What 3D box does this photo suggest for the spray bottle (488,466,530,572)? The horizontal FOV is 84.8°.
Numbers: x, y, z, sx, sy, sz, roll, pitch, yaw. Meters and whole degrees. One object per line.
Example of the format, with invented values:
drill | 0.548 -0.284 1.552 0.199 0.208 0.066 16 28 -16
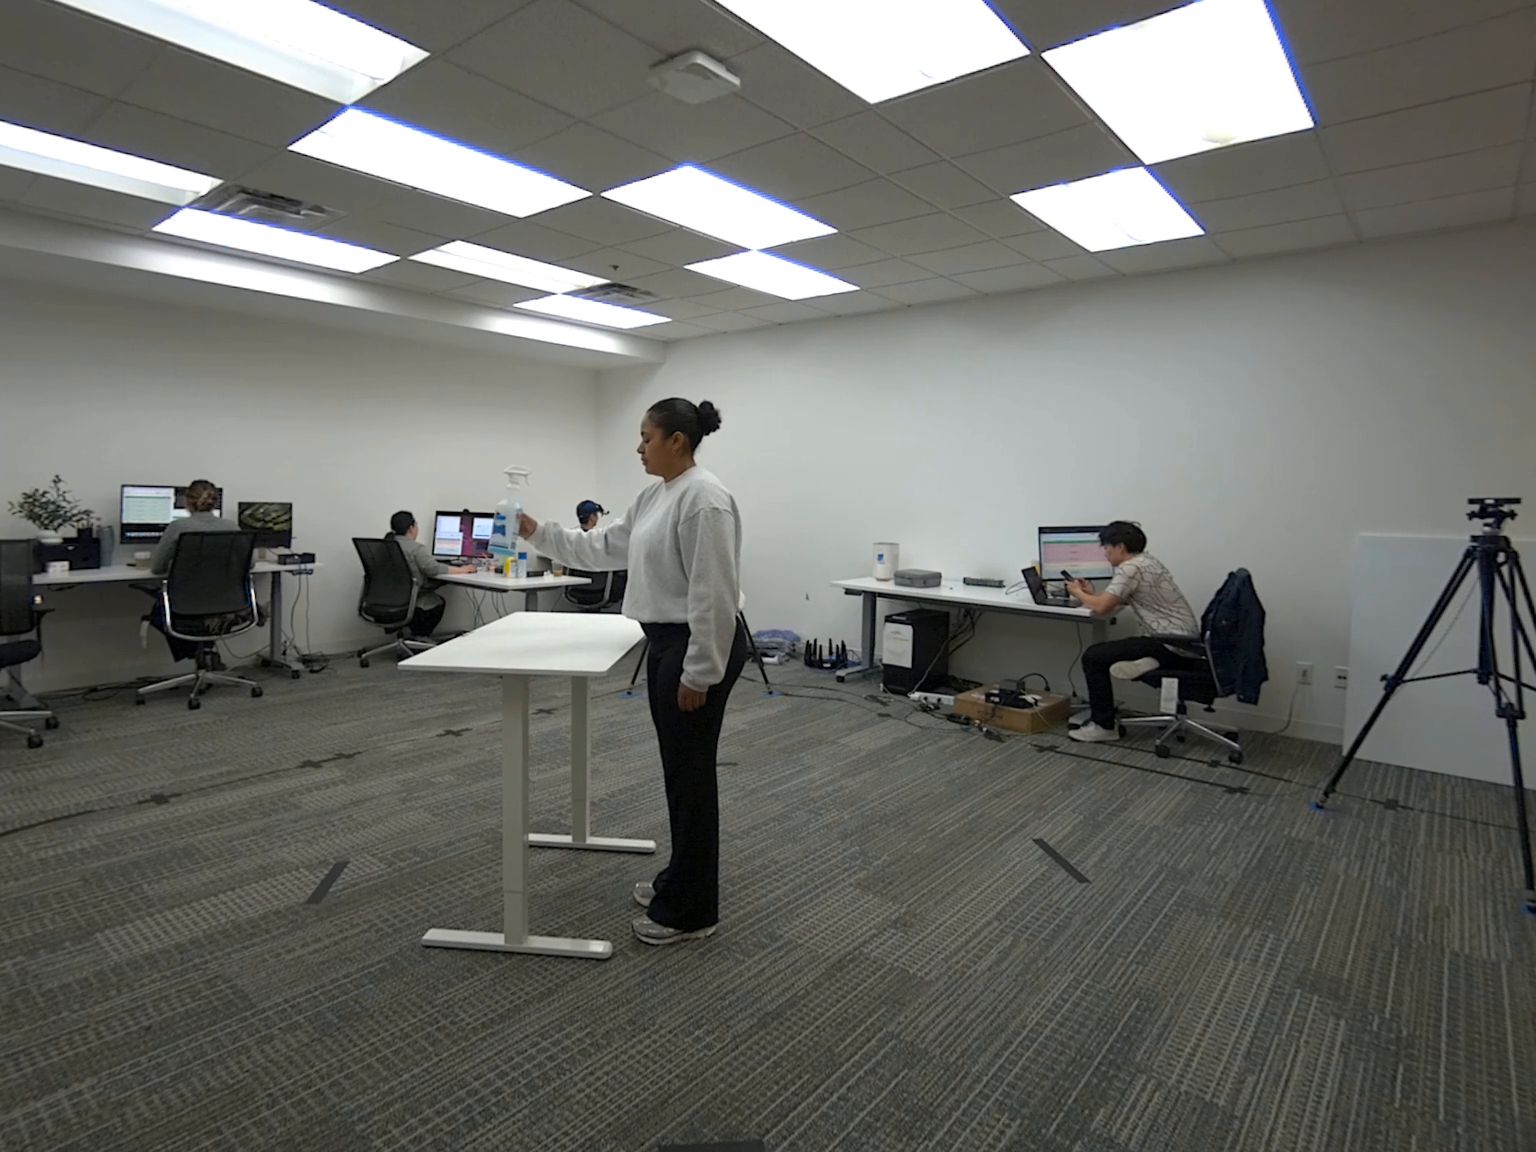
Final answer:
spray bottle | -0.854 -0.197 2.767 0.089 0.299 0.087 11 -7 -8
